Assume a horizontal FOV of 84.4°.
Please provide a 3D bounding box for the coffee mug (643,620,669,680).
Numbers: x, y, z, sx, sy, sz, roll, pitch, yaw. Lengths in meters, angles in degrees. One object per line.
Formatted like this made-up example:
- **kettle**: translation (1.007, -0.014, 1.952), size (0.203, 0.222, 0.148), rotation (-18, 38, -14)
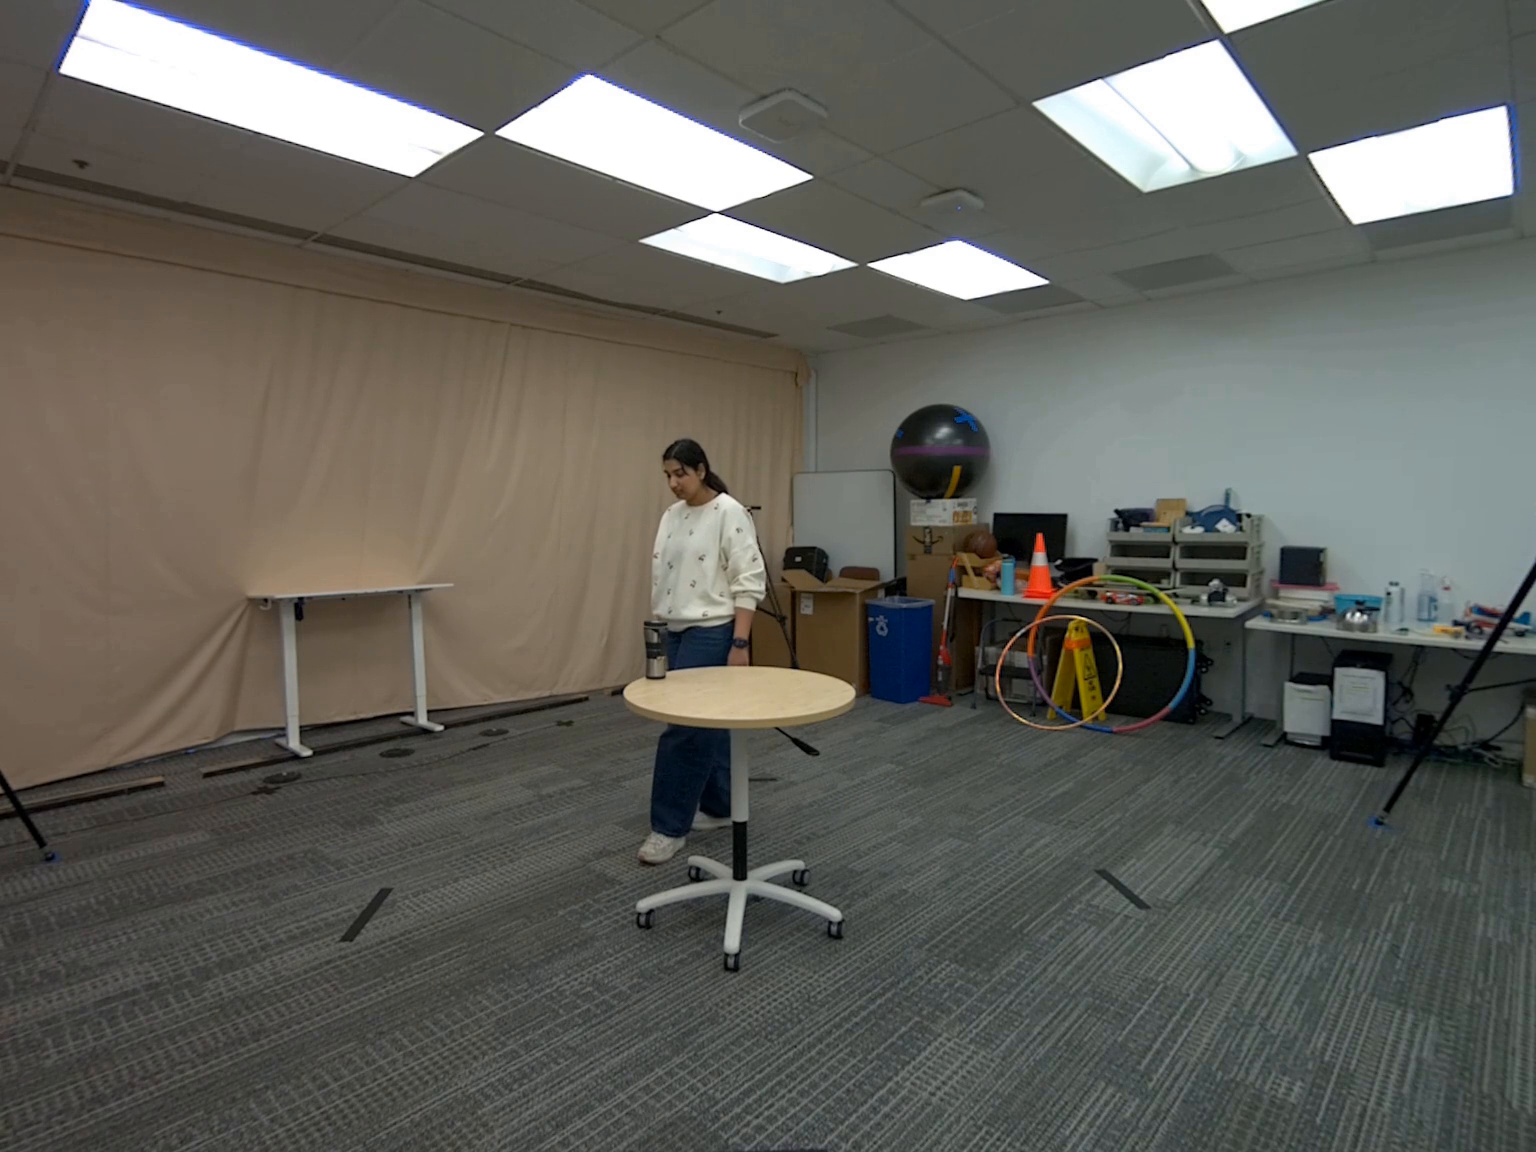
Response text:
- **coffee mug**: translation (-0.397, 0.262, 2.957), size (0.088, 0.203, 0.122), rotation (4, 0, 0)
